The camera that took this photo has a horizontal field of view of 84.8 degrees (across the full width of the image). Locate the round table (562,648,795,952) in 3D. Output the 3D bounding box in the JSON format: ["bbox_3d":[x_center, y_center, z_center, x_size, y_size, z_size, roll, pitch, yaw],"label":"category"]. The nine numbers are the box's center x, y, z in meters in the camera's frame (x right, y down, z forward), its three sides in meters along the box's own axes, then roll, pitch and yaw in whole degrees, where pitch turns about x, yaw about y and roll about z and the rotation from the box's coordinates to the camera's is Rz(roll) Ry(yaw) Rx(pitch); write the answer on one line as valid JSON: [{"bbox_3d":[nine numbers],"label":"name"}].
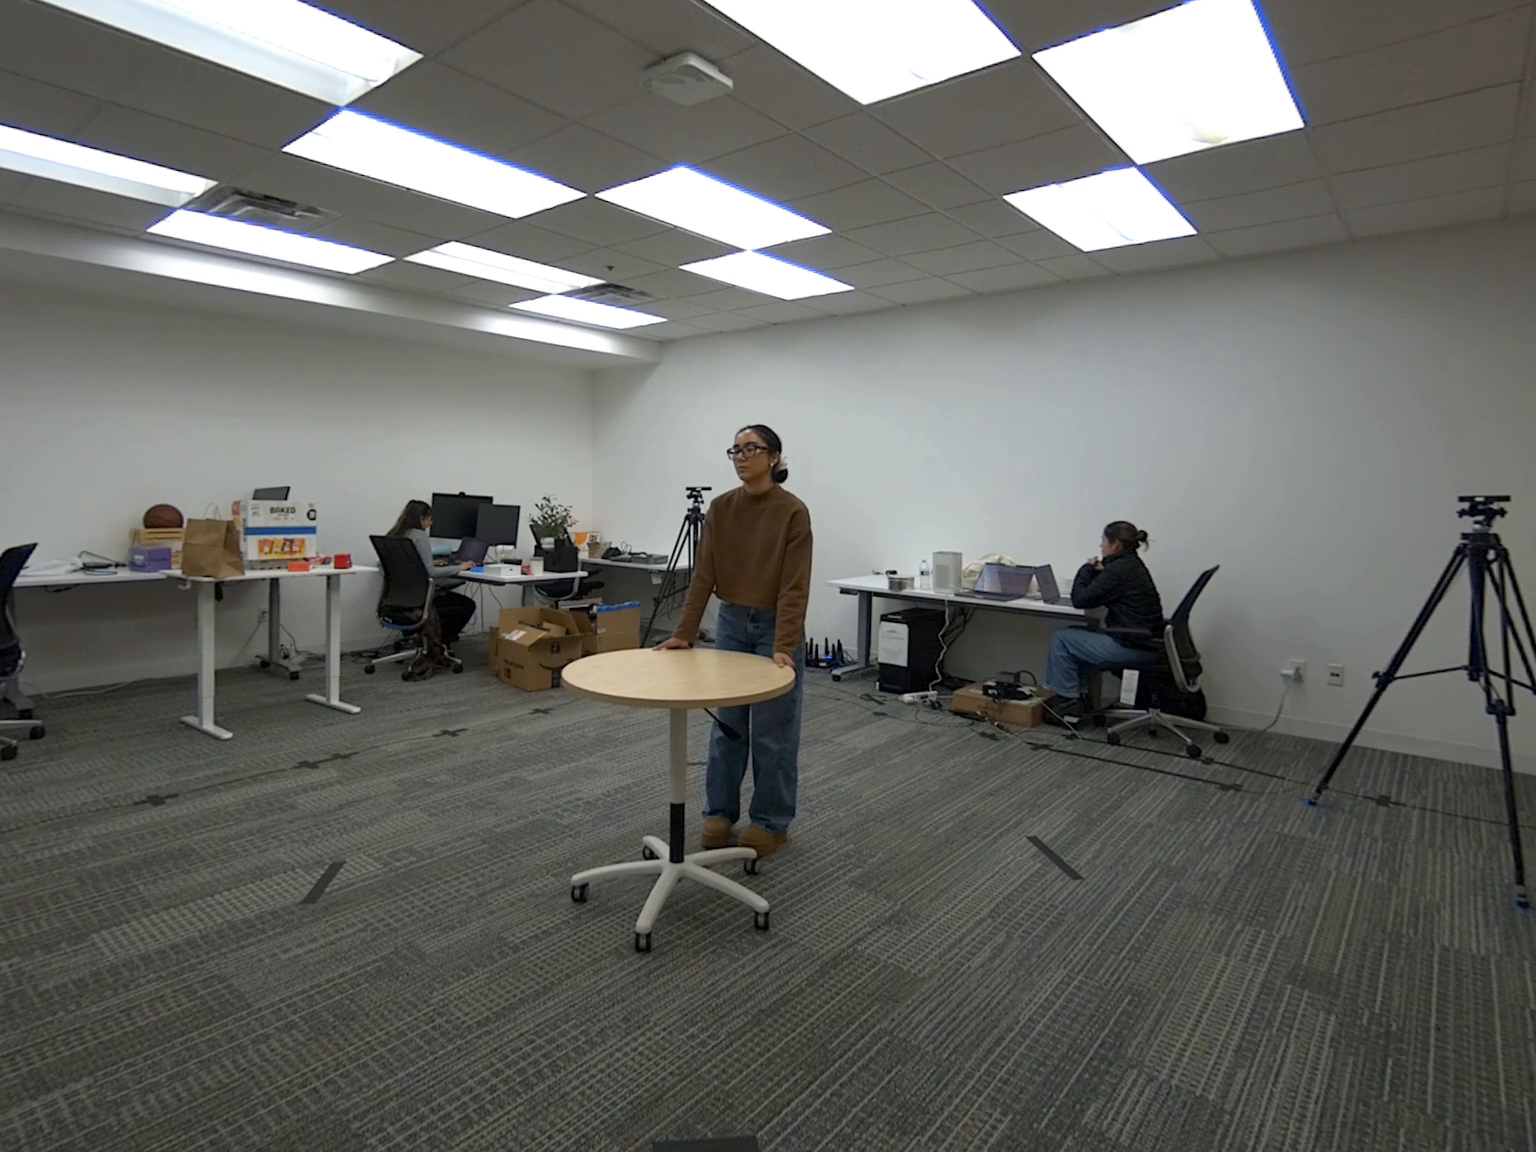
[{"bbox_3d":[-0.313,0.695,2.848,0.784,0.783,0.790,1,5,-2],"label":"round table"}]
